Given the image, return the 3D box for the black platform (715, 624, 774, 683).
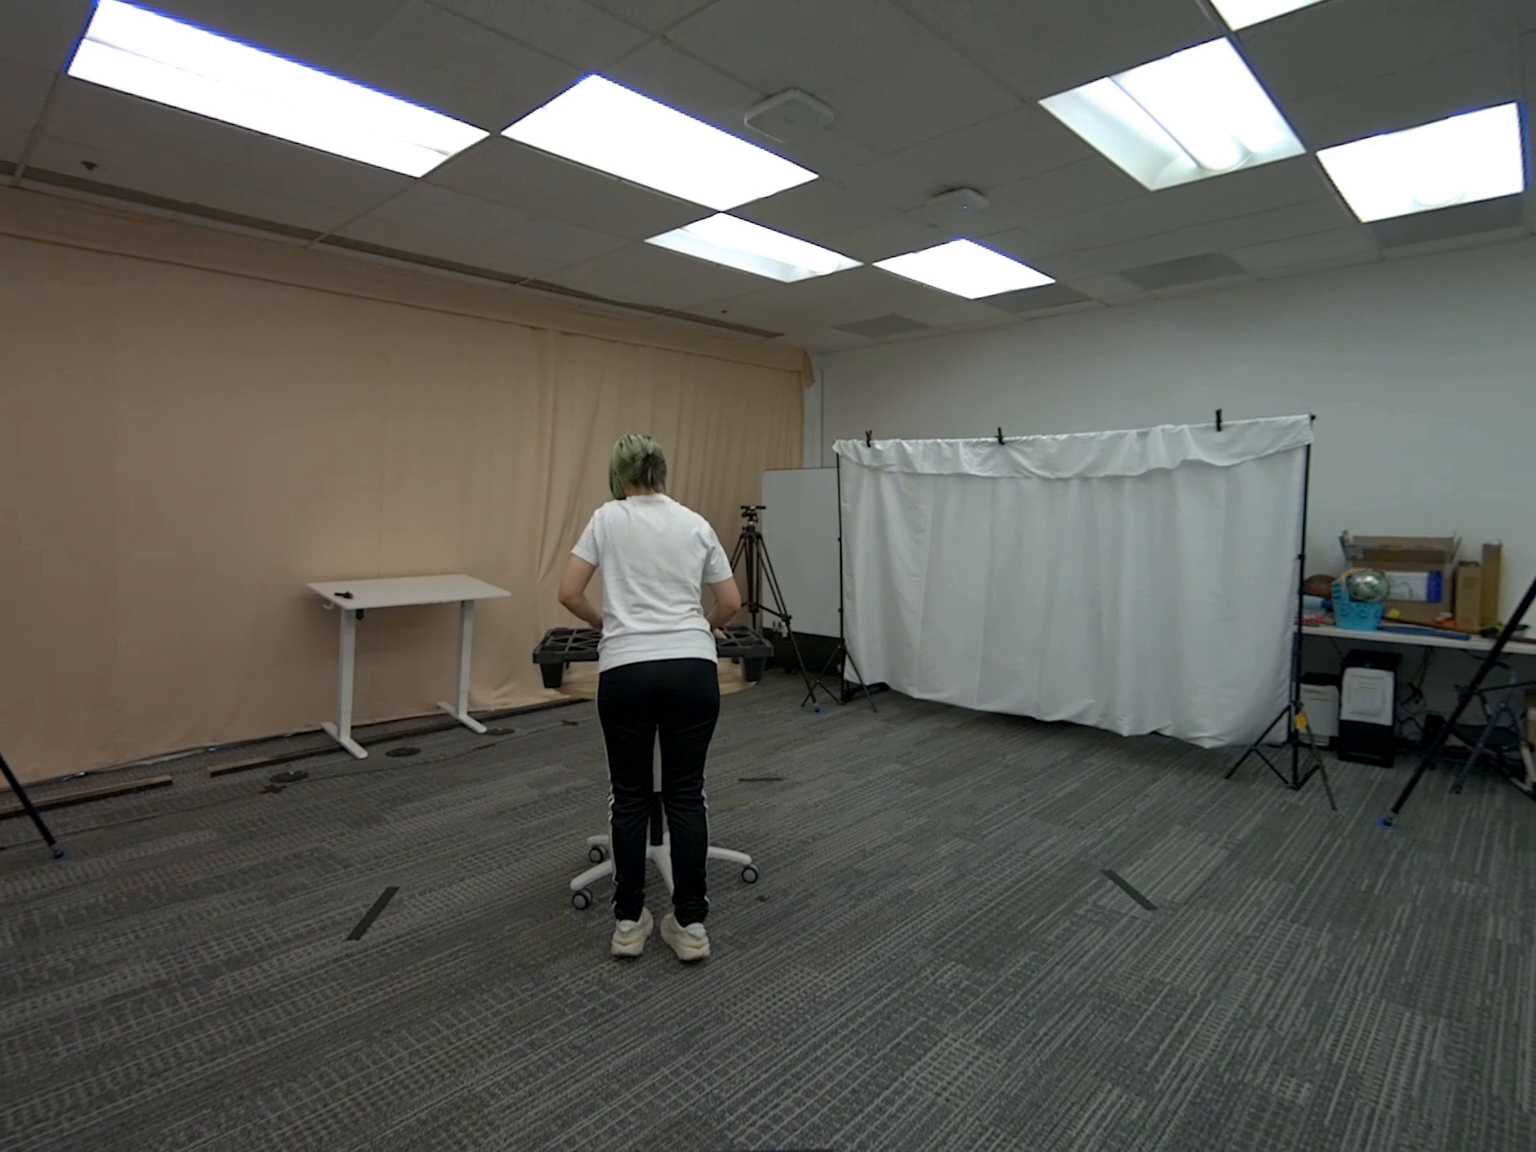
[{"bbox_3d":[-0.415,0.290,3.070,0.801,0.143,0.610,-1,4,-6],"label":"black platform"}]
